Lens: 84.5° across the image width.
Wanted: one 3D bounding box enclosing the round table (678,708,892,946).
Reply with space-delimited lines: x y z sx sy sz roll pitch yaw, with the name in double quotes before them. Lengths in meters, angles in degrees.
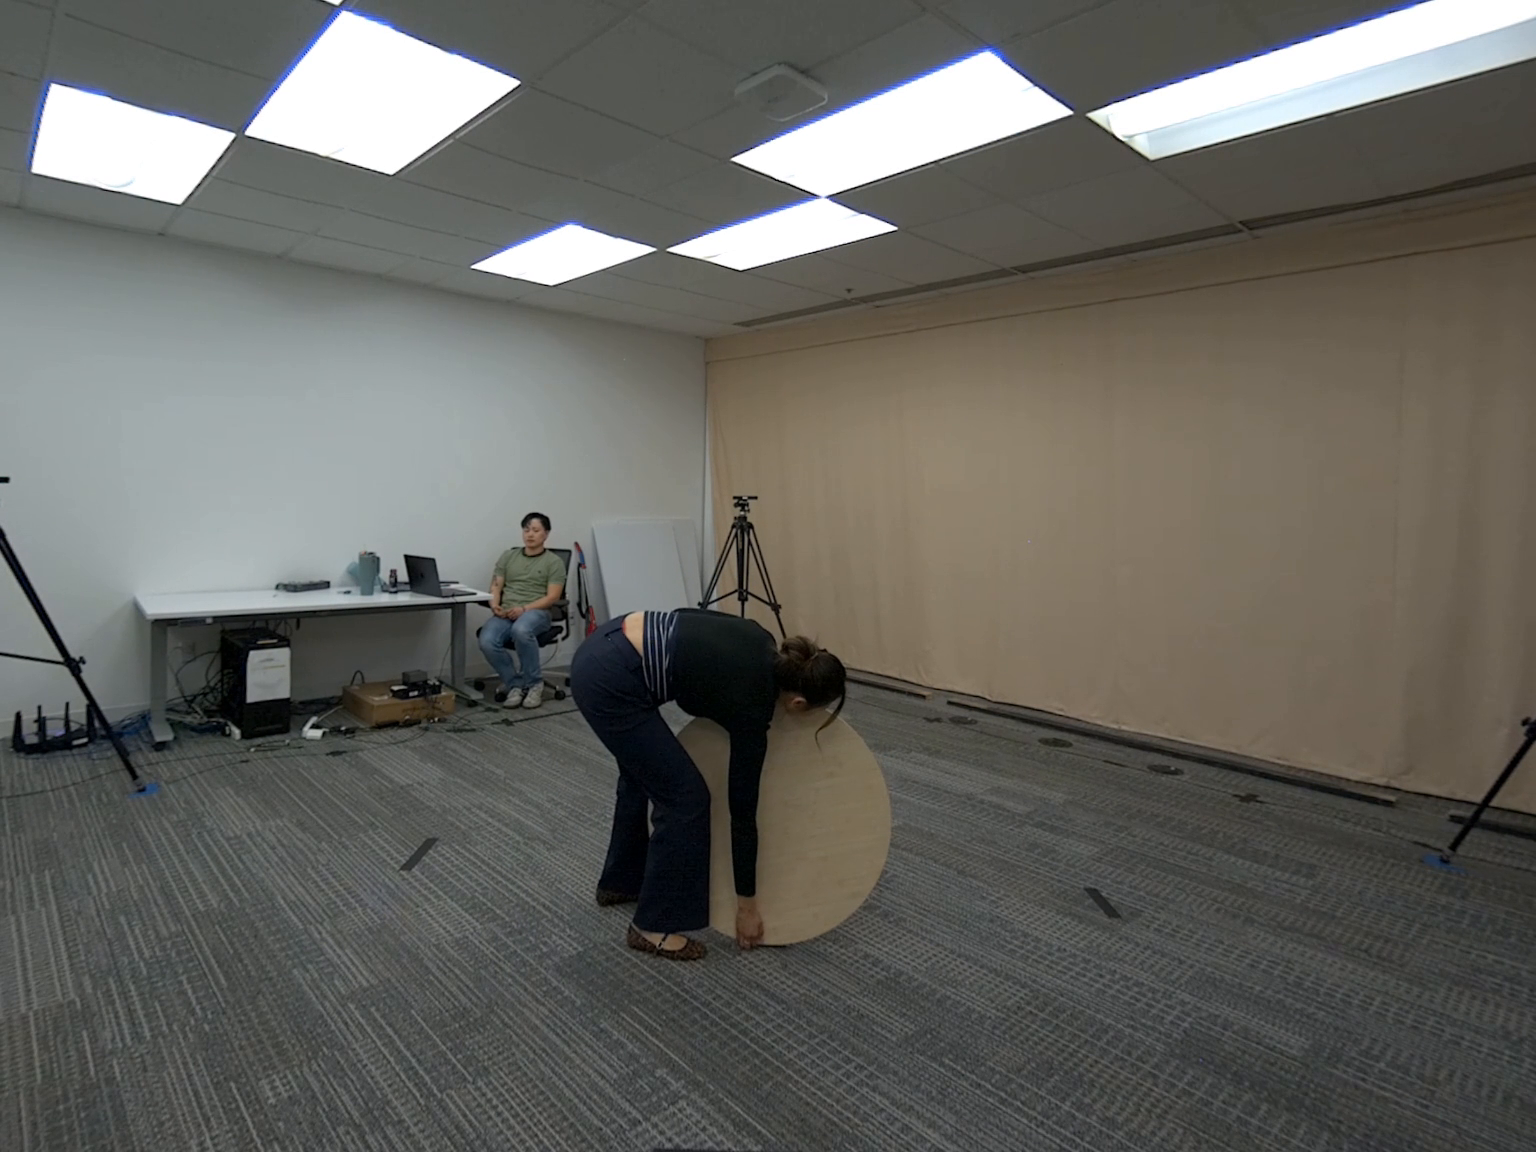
"round table" 0.017 0.783 3.023 0.767 0.766 0.788 2 -3 4
